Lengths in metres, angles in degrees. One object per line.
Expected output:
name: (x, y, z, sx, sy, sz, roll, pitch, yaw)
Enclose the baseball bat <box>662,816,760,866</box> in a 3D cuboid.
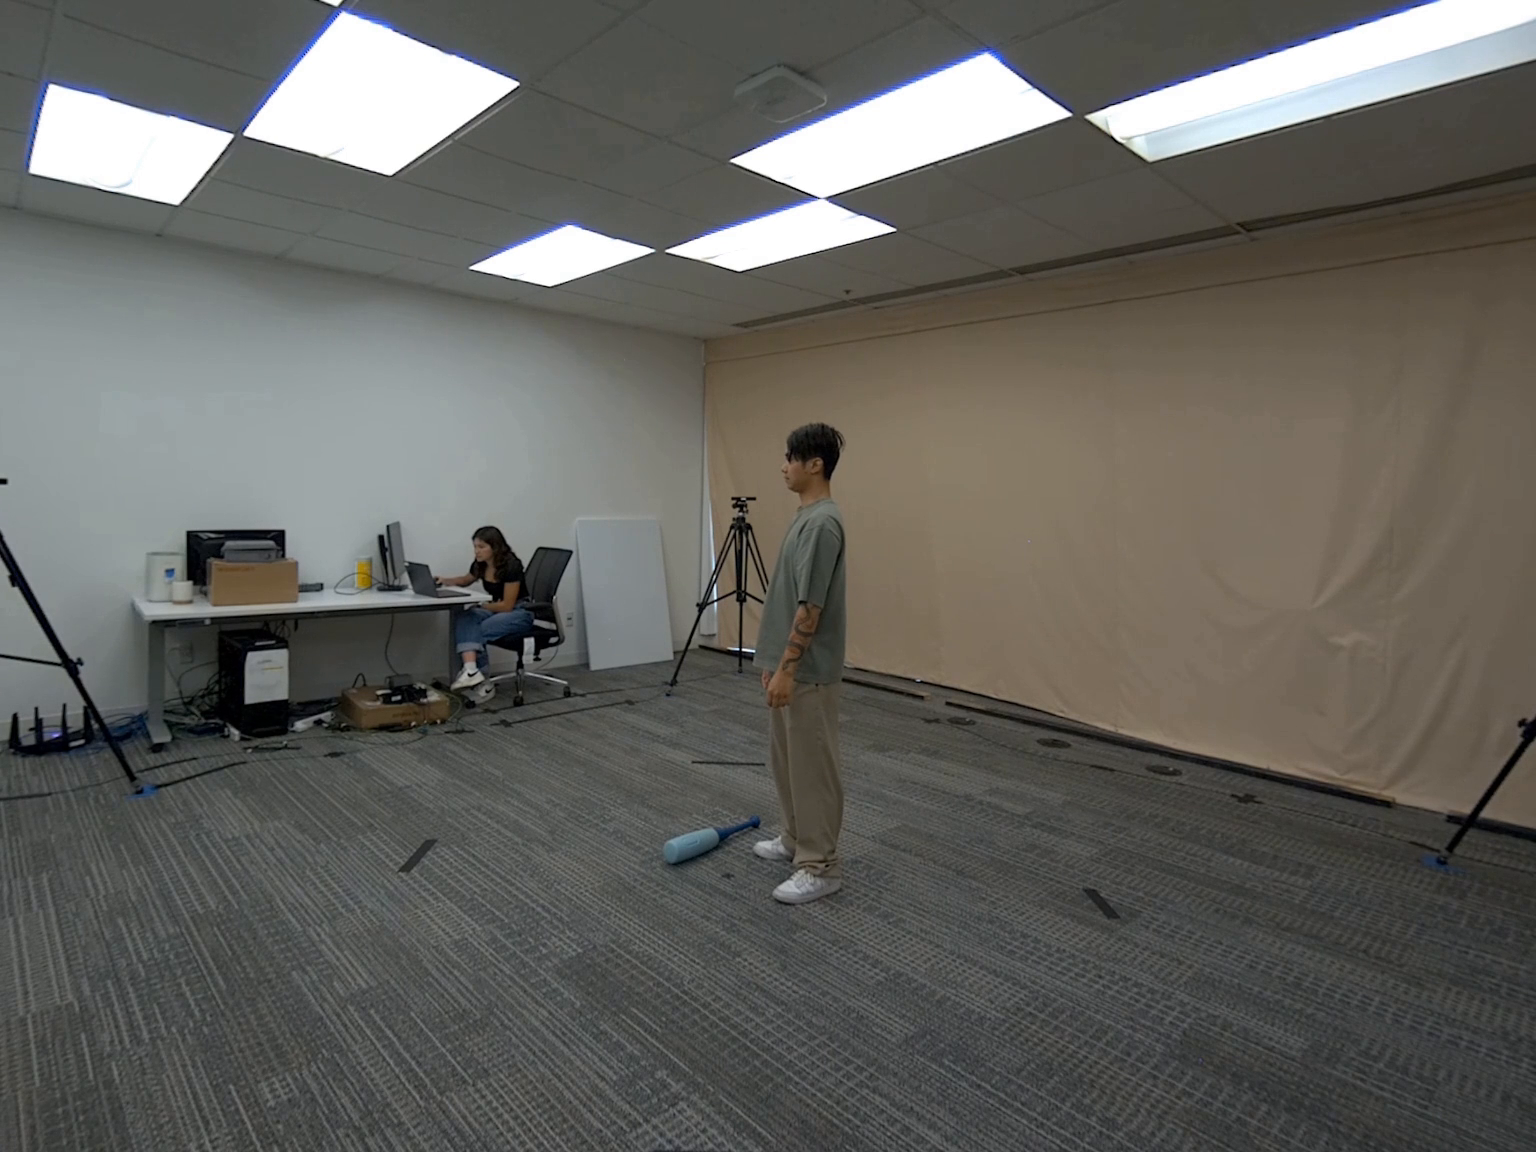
baseball bat: (-0.218, 1.049, 3.376, 0.091, 0.089, 0.530, 5, 2, 38)
